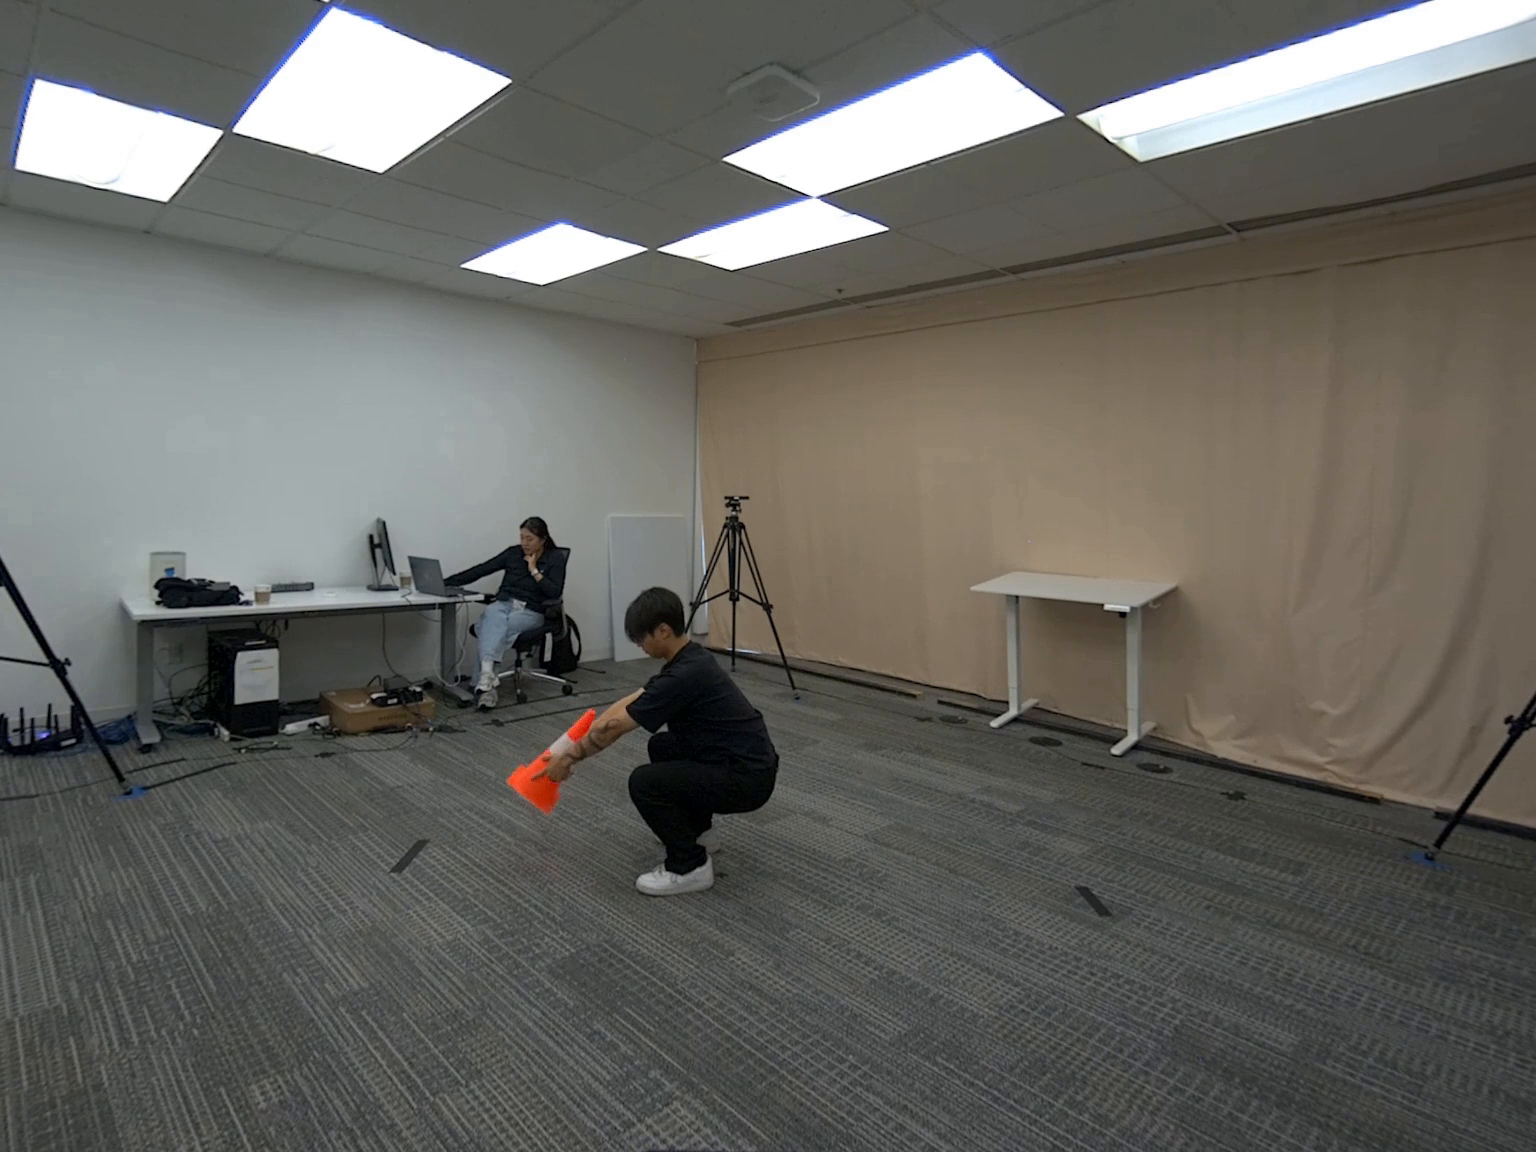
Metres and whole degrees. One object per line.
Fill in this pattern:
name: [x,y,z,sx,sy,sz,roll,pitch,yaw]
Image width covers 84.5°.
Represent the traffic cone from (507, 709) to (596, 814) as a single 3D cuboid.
traffic cone: [-0.766,0.661,3.160,0.203,0.383,0.205,39,10,-1]
